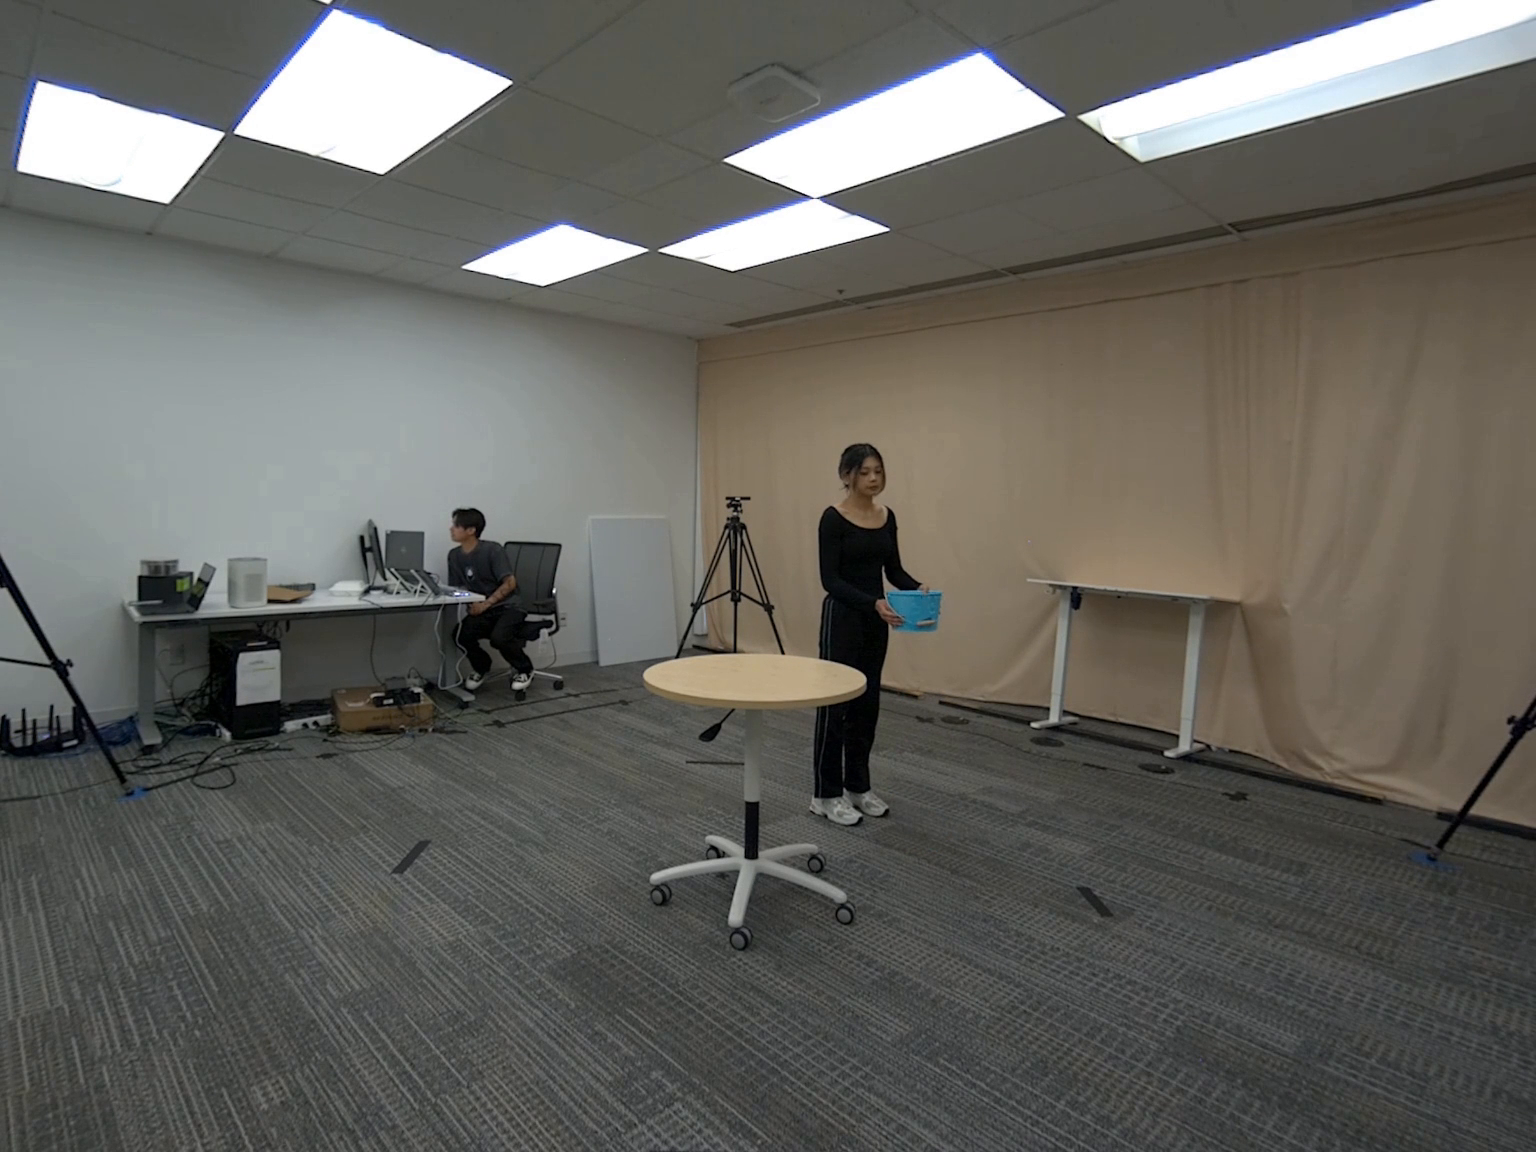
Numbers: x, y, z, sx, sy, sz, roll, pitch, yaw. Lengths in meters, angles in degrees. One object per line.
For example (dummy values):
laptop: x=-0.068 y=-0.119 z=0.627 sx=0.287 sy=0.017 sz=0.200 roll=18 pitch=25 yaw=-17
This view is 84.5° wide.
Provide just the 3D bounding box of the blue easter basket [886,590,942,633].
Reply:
blue easter basket: x=0.588 y=0.144 z=3.446 sx=0.243 sy=0.156 sz=0.244 roll=-1 pitch=2 yaw=-1
